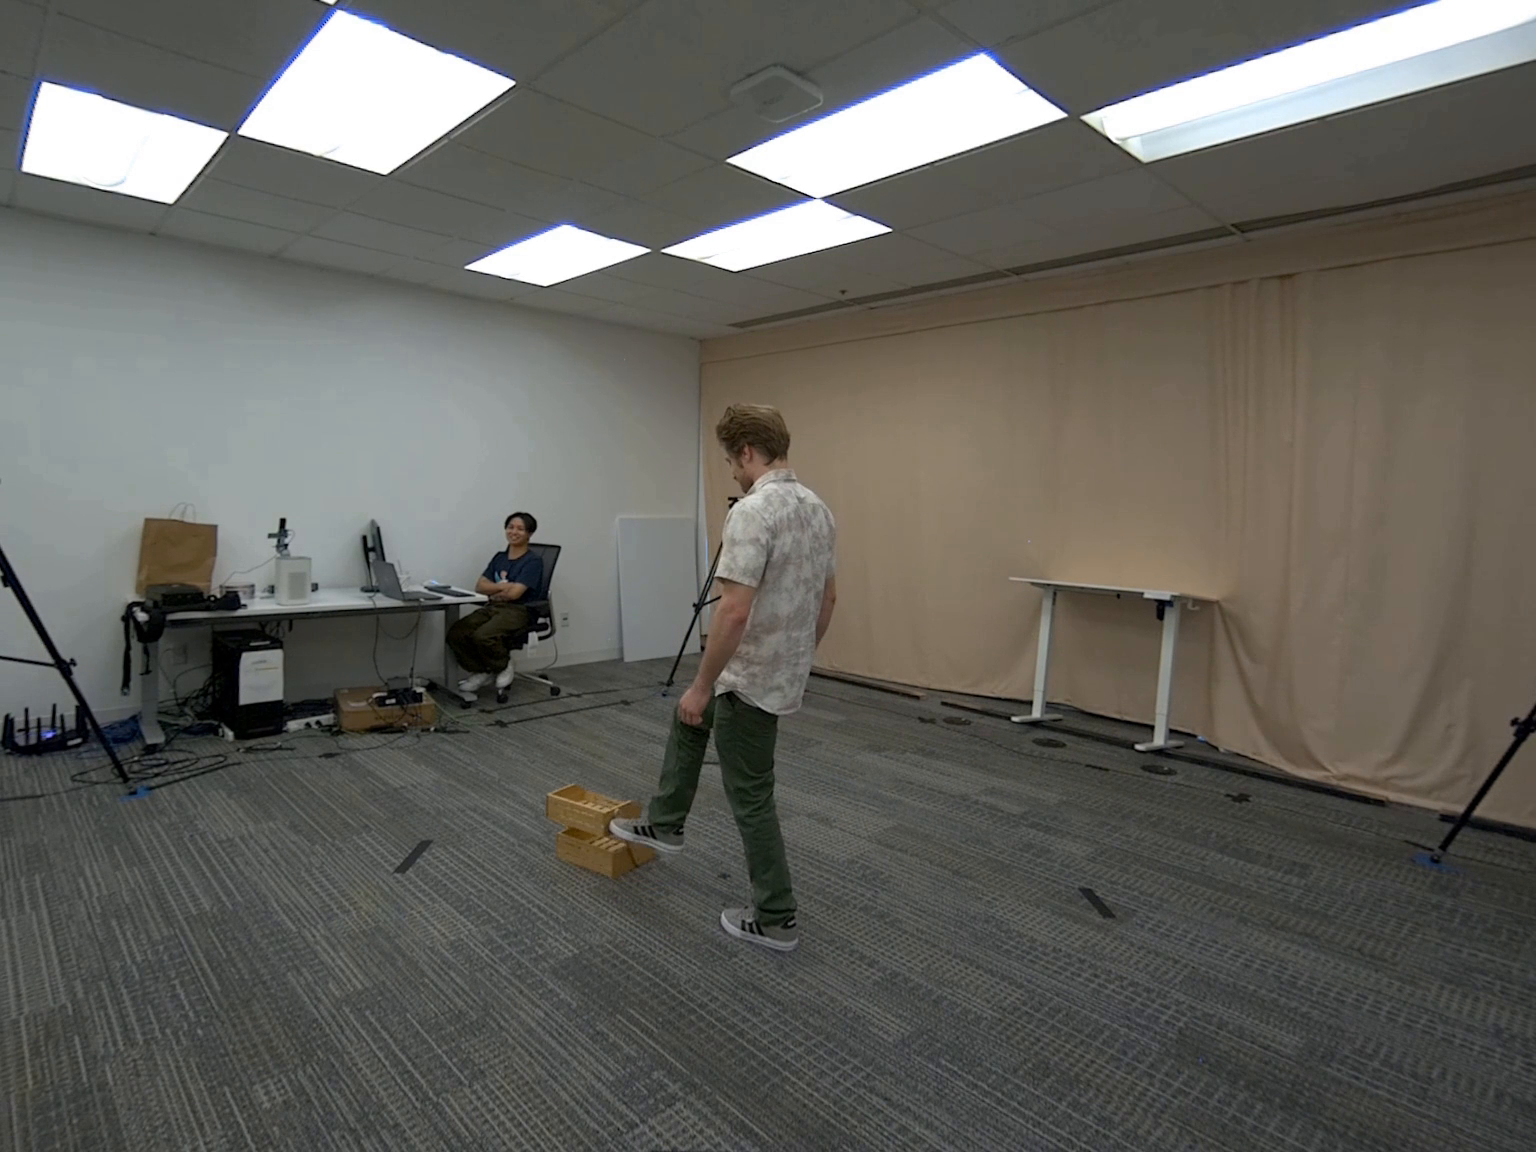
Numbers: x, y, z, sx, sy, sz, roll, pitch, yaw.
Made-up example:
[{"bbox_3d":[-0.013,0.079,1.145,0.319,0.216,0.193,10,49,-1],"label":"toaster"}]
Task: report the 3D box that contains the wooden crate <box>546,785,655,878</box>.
[{"bbox_3d":[-0.641,0.953,3.225,0.332,0.272,0.296,5,6,34],"label":"wooden crate"}]
